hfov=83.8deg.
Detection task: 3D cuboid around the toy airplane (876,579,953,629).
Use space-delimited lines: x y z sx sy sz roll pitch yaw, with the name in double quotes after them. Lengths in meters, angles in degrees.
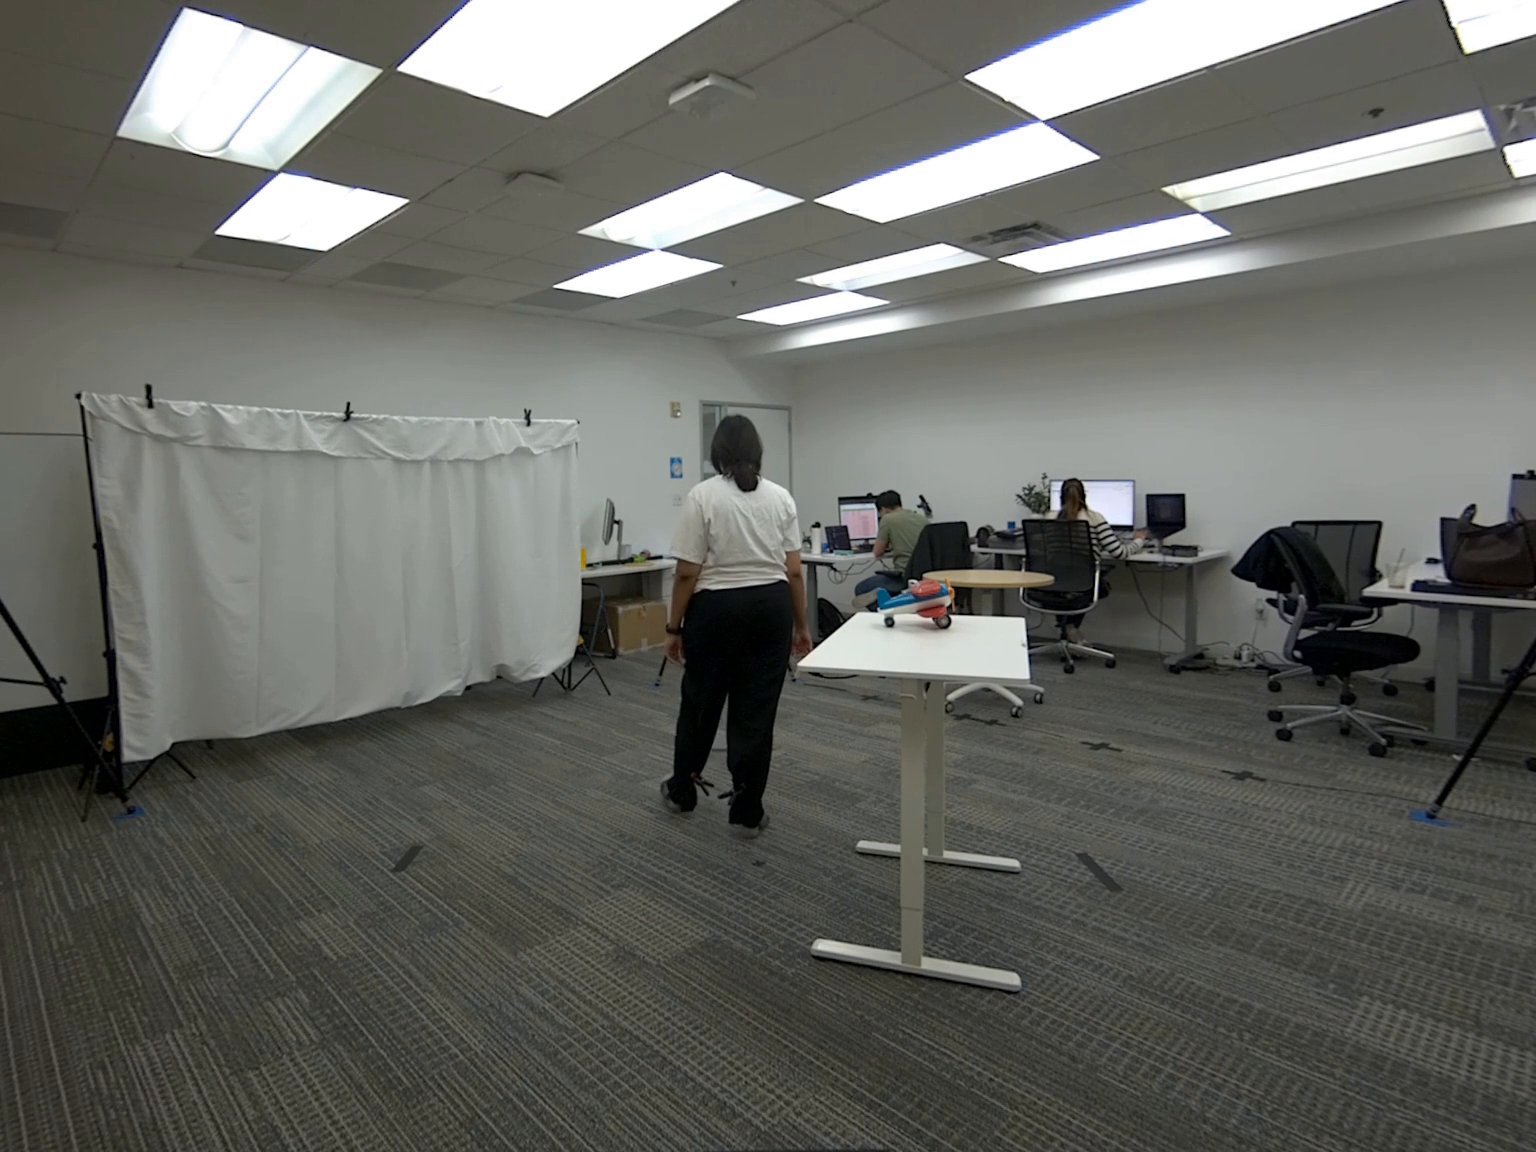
0.501 0.098 2.915 0.254 0.156 0.257 1 6 -21 "toy airplane"
